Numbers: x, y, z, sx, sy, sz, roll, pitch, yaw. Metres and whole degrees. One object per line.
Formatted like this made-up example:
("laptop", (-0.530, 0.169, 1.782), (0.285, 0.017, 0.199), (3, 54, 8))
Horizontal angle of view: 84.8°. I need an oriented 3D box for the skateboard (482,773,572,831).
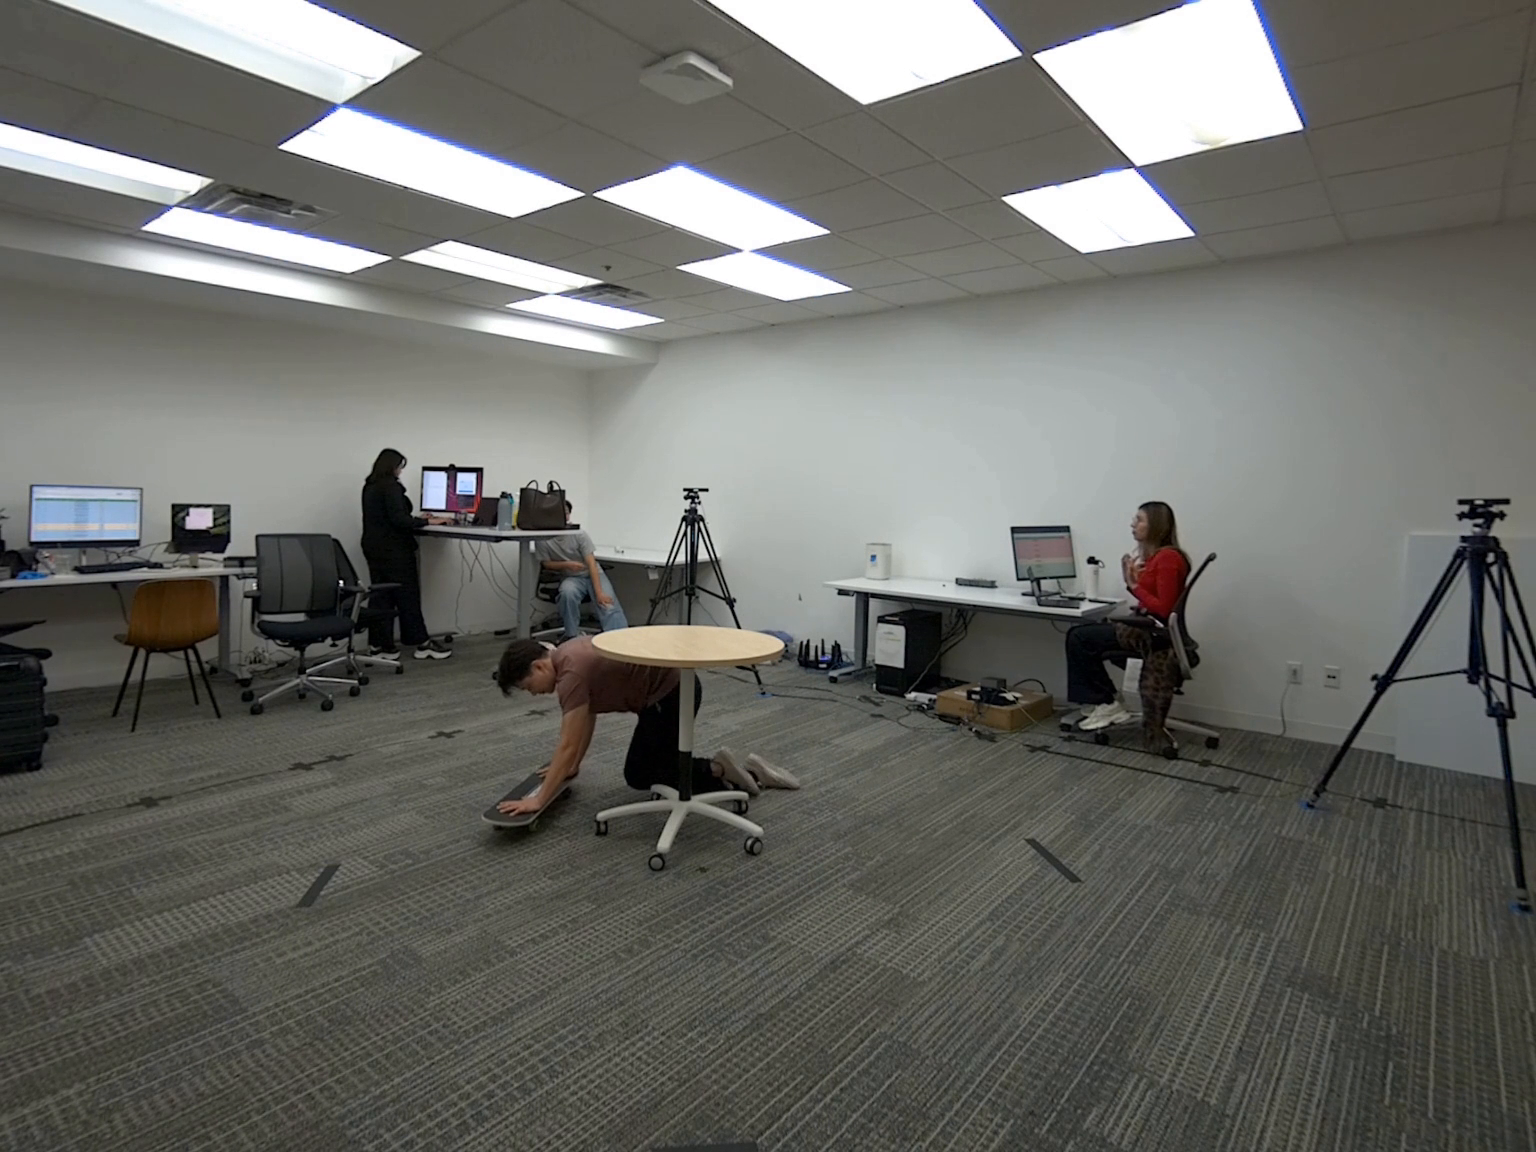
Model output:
("skateboard", (-1.008, 0.948, 3.623), (0.195, 0.110, 0.781), (4, 5, 6))
